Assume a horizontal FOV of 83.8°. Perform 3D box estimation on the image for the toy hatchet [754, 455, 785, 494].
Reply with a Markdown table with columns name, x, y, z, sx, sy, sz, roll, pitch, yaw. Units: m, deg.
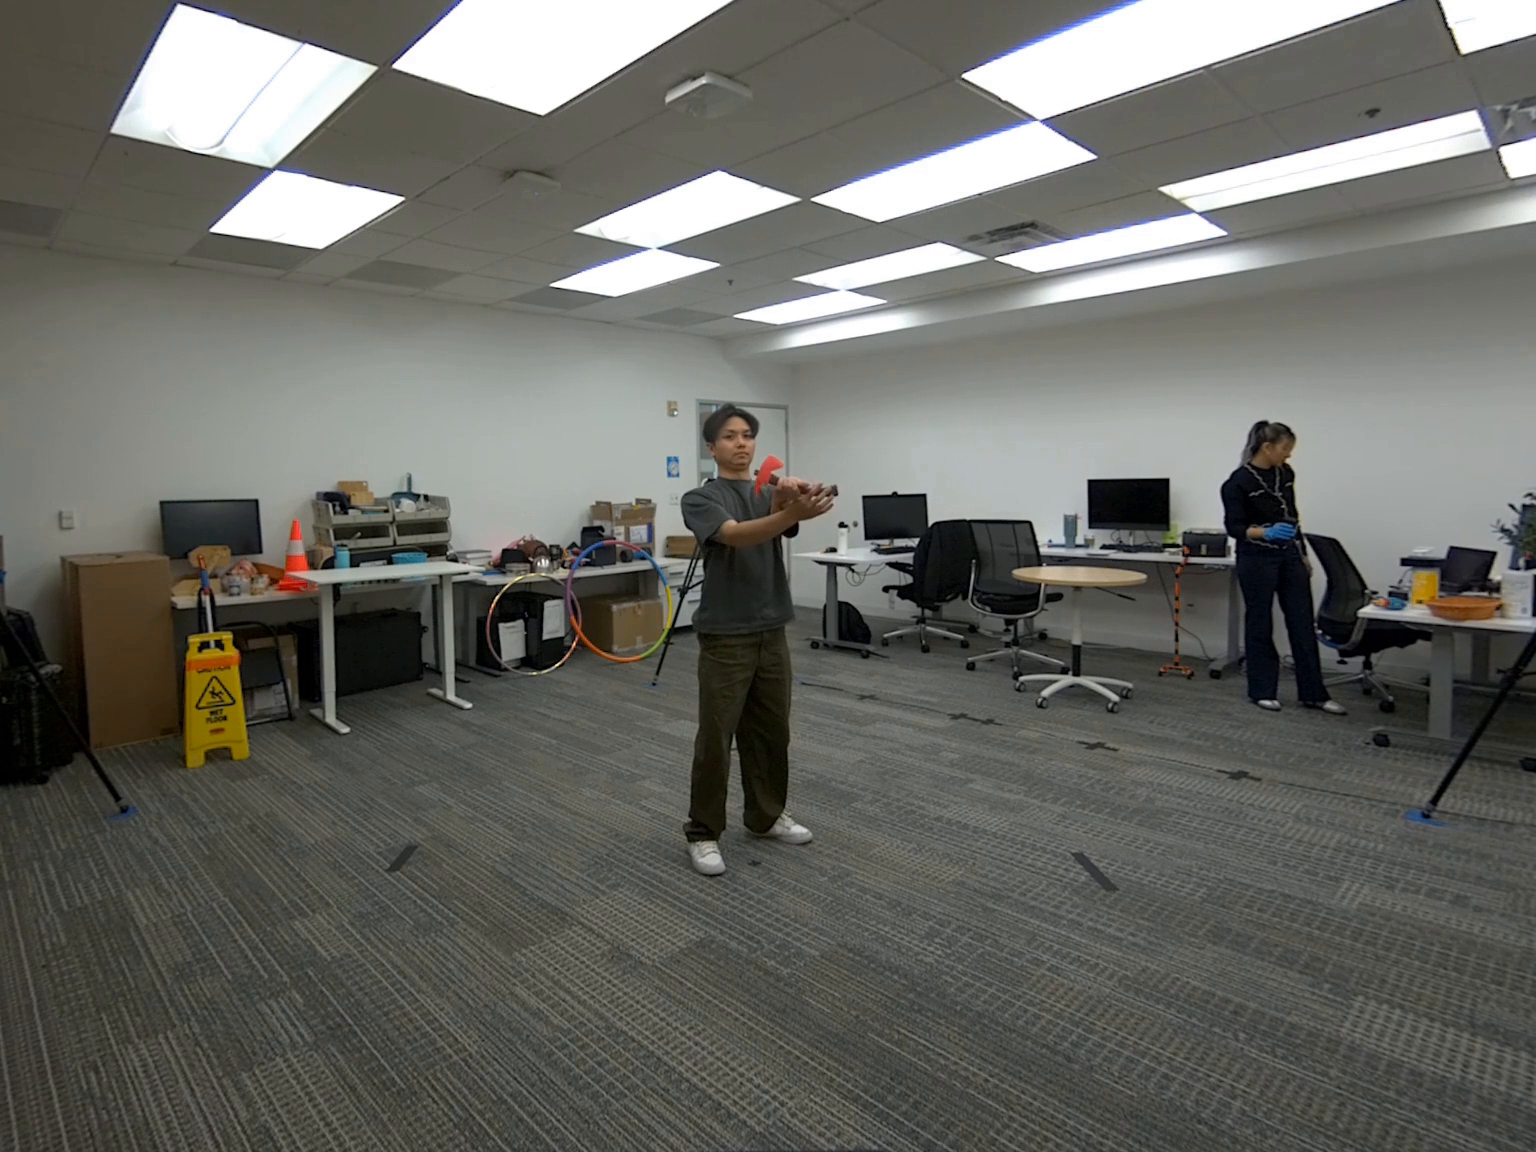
| name | x | y | z | sx | sy | sz | roll | pitch | yaw |
| --- | --- | --- | --- | --- | --- | --- | --- | --- | --- |
| toy hatchet | 0.099 | -0.329 | 2.709 | 0.271 | 0.131 | 0.029 | -5 | -2 | 3 |
